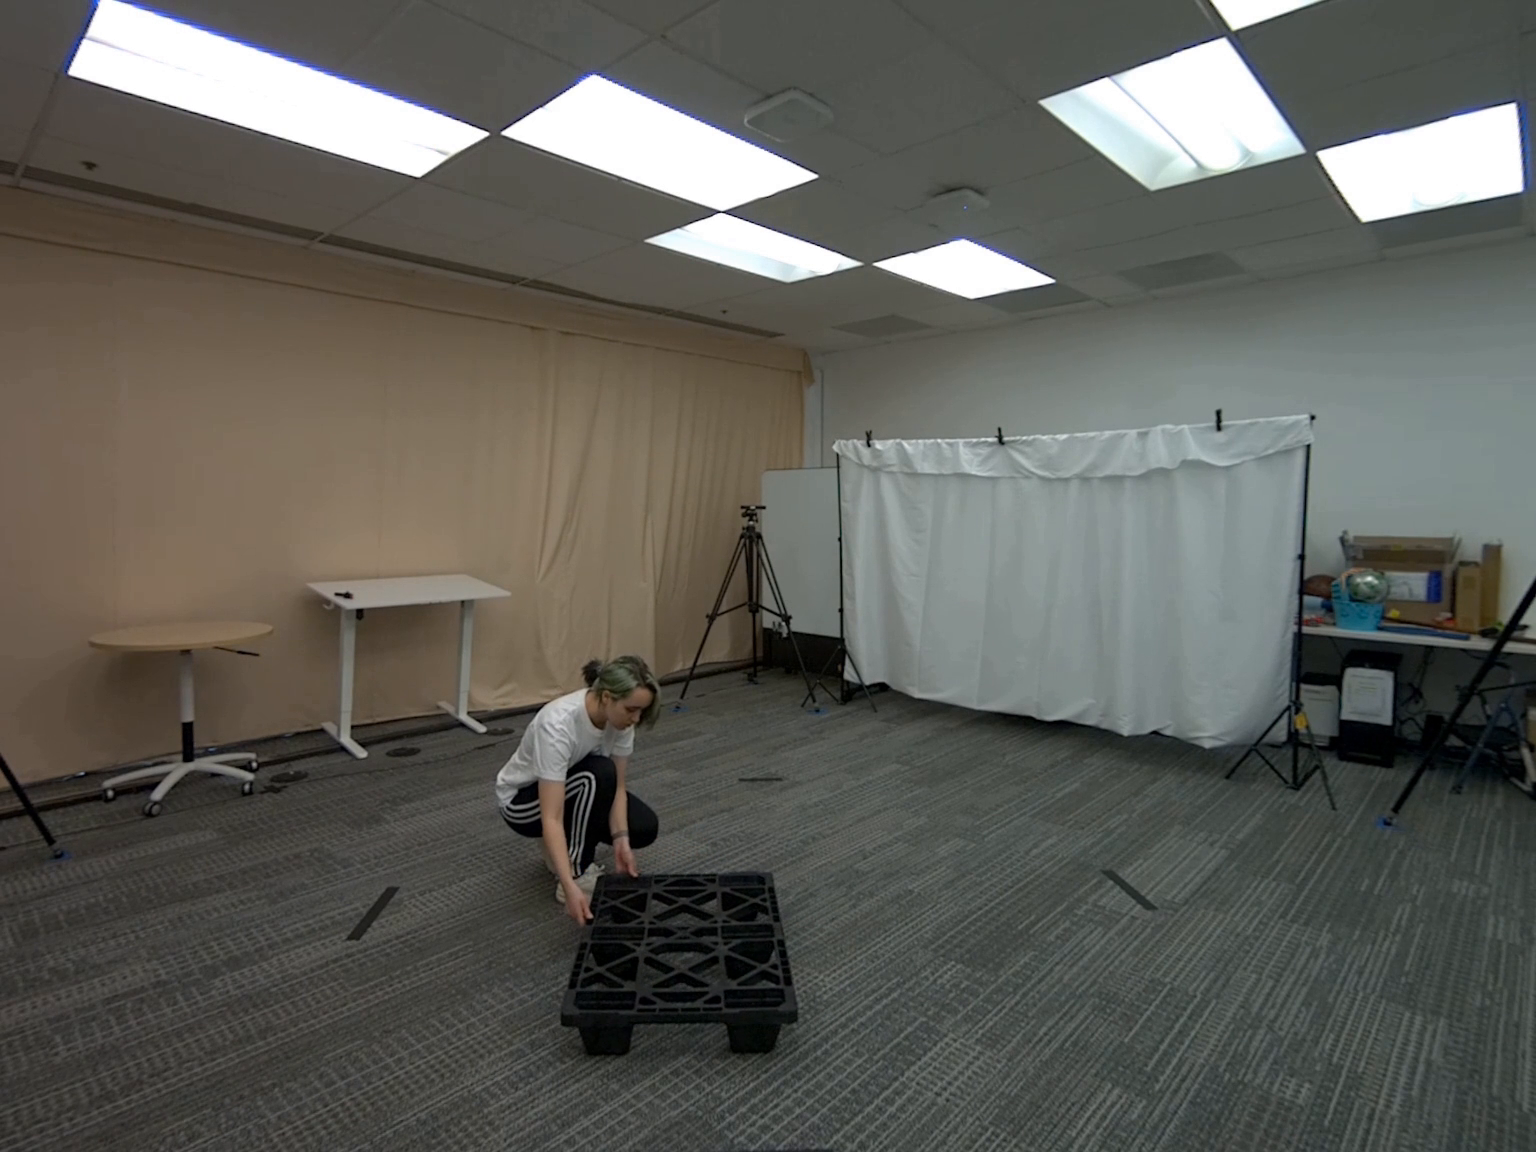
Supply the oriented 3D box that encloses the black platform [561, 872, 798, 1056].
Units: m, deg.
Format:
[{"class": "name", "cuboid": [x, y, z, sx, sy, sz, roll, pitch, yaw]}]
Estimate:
[{"class": "black platform", "cuboid": [-0.247, 1.119, 2.498, 0.604, 0.143, 0.809, 0, 5, -3]}]
